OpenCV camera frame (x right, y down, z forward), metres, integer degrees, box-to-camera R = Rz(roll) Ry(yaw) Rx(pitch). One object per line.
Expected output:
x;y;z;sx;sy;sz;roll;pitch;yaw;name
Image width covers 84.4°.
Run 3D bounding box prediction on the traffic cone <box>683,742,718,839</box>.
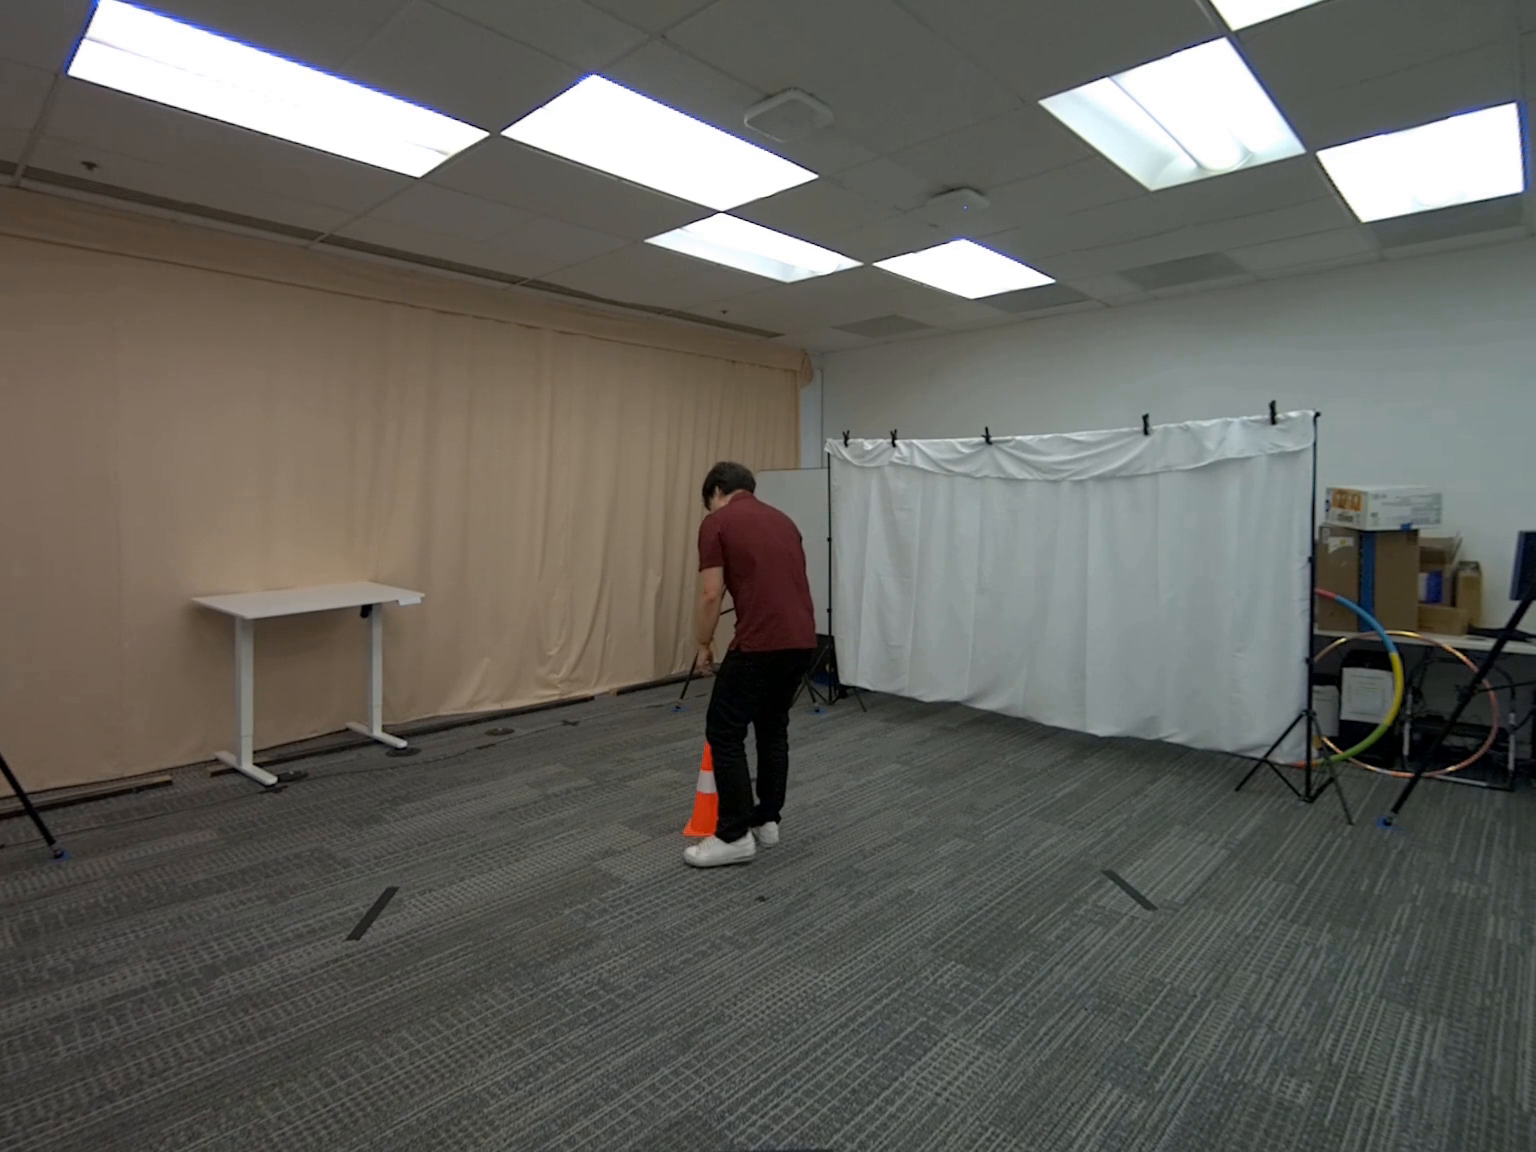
-0.263;0.902;3.644;0.208;0.383;0.201;-1;4;11;traffic cone
